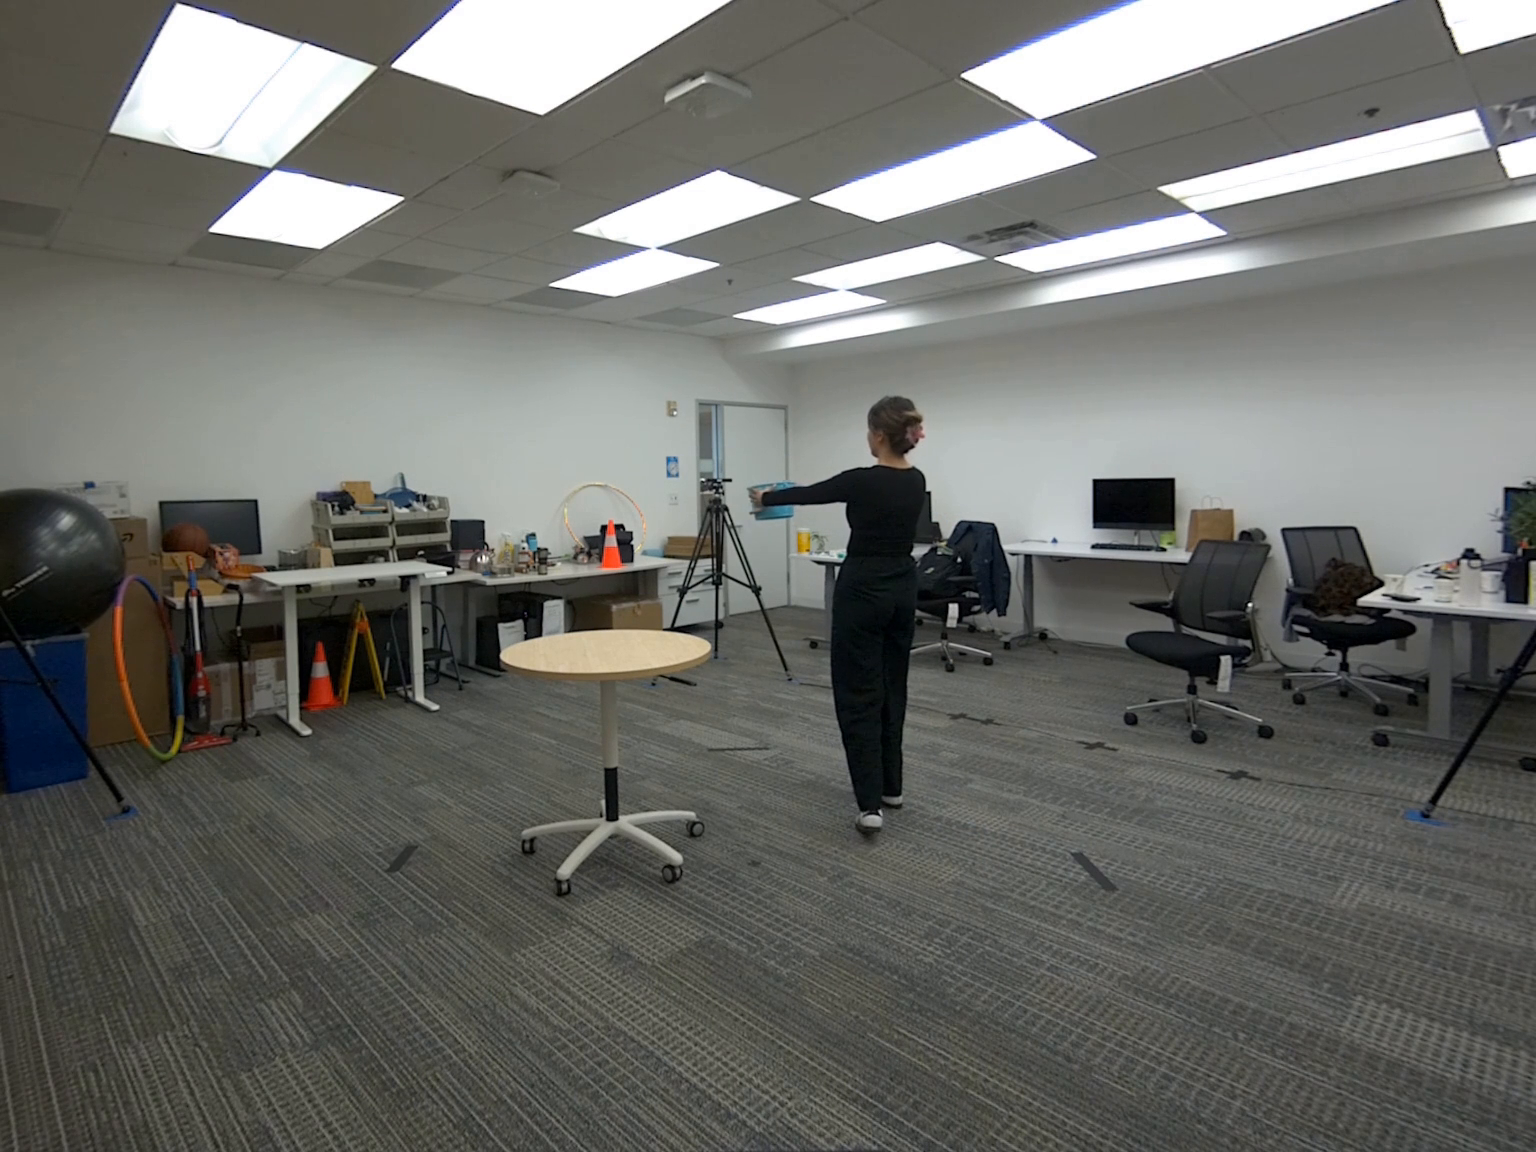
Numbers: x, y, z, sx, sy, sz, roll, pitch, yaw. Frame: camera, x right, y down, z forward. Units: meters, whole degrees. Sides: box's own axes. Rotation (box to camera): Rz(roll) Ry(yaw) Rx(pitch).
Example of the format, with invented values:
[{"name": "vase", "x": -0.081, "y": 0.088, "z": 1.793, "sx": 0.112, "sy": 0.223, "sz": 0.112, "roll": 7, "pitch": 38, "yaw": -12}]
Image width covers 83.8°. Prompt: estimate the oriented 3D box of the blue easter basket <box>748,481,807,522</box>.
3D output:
[{"name": "blue easter basket", "x": 0.036, "y": -0.345, "z": 3.982, "sx": 0.243, "sy": 0.156, "sz": 0.243, "roll": -3, "pitch": 0, "yaw": -2}]
